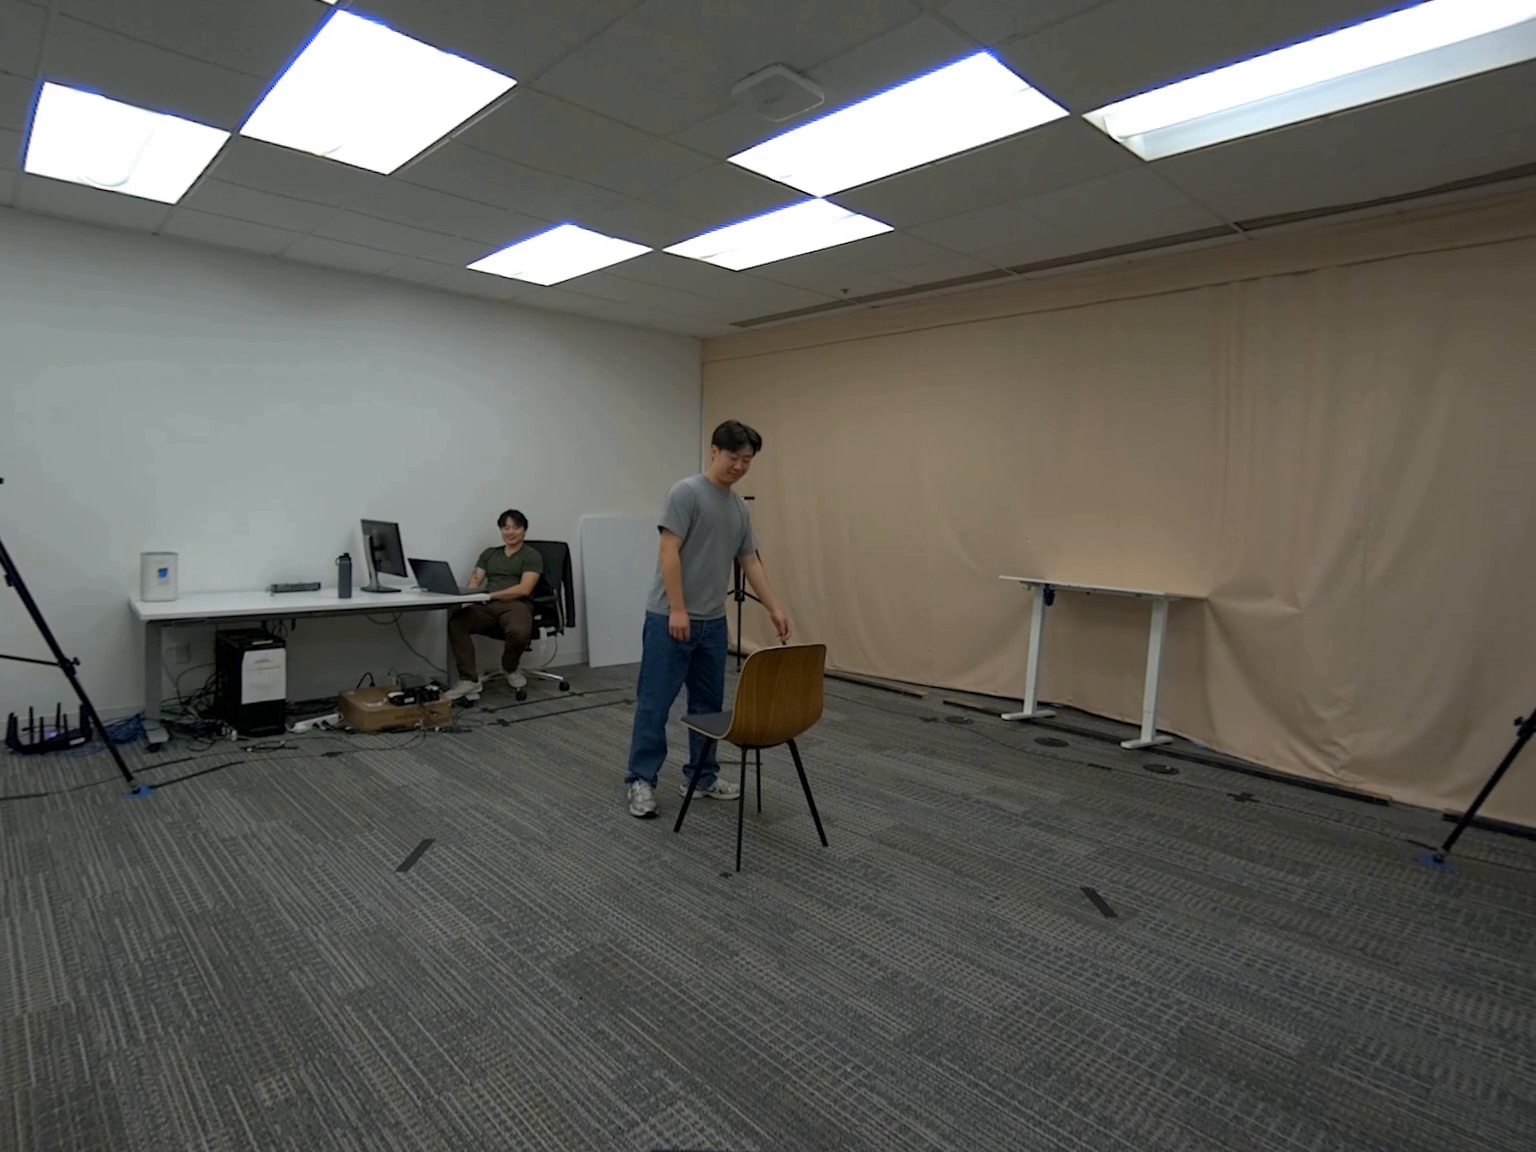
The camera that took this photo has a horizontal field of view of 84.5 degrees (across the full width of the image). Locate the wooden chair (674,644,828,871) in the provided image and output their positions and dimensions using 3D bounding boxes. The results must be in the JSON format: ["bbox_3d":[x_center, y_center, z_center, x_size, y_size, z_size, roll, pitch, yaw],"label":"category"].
[{"bbox_3d":[-0.075,0.651,3.416,0.467,0.873,0.537,-1,8,-37],"label":"wooden chair"}]
